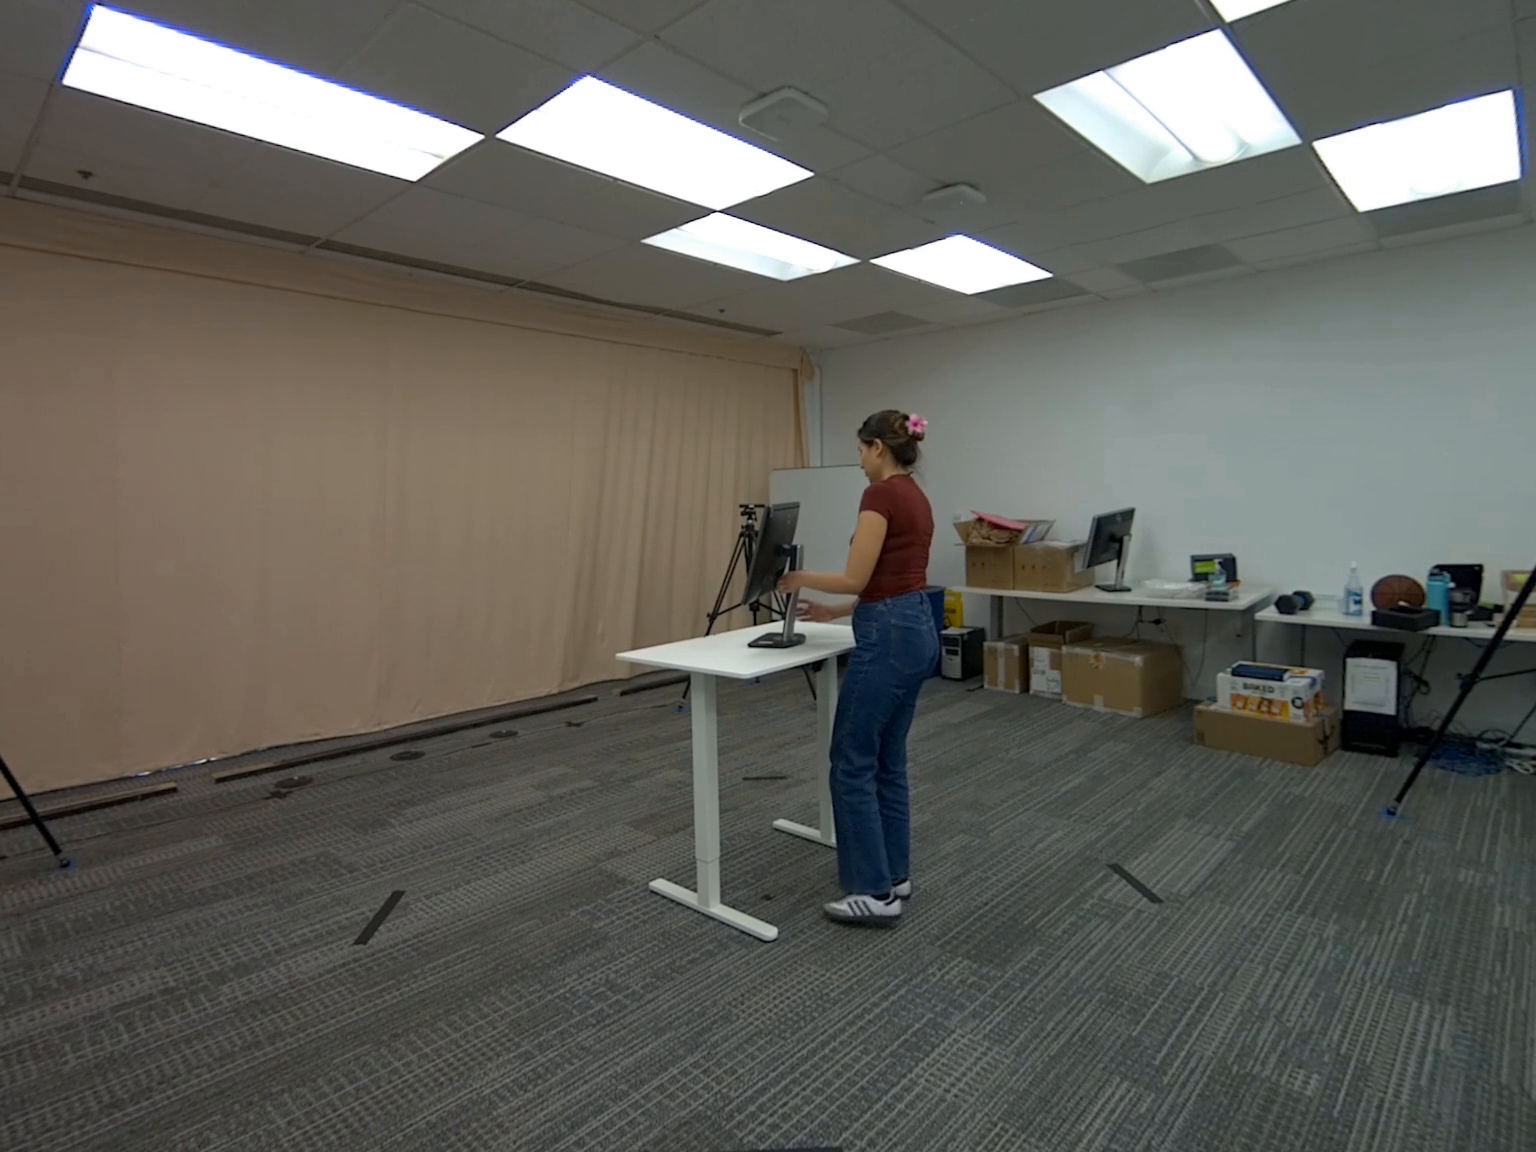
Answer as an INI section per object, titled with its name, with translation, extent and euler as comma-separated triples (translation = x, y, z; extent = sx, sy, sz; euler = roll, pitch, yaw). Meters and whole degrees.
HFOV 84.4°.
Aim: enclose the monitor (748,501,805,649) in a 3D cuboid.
[monitor]
translation = 0.047, -0.006, 3.104
extent = 0.190, 0.521, 0.533
euler = 1, 5, 12
